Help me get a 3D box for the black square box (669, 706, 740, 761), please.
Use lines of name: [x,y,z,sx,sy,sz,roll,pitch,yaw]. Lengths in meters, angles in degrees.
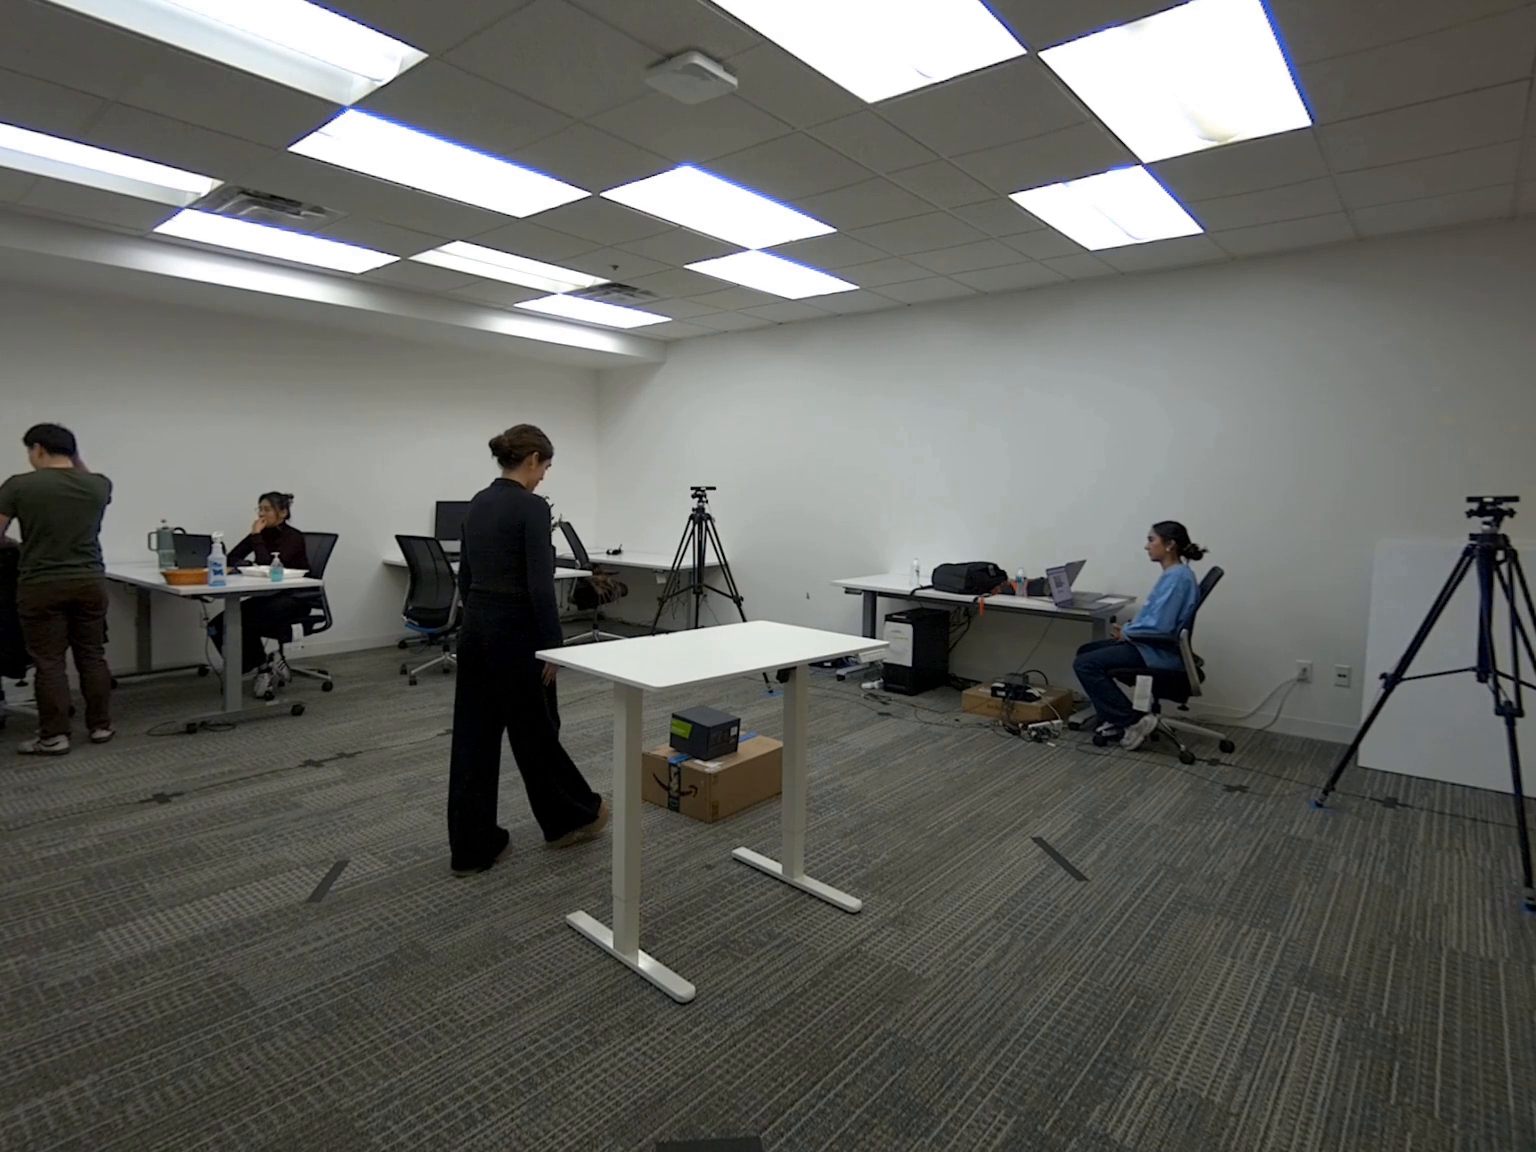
black square box: [-0.295,0.690,3.790,0.236,0.155,0.210,10,9,39]
